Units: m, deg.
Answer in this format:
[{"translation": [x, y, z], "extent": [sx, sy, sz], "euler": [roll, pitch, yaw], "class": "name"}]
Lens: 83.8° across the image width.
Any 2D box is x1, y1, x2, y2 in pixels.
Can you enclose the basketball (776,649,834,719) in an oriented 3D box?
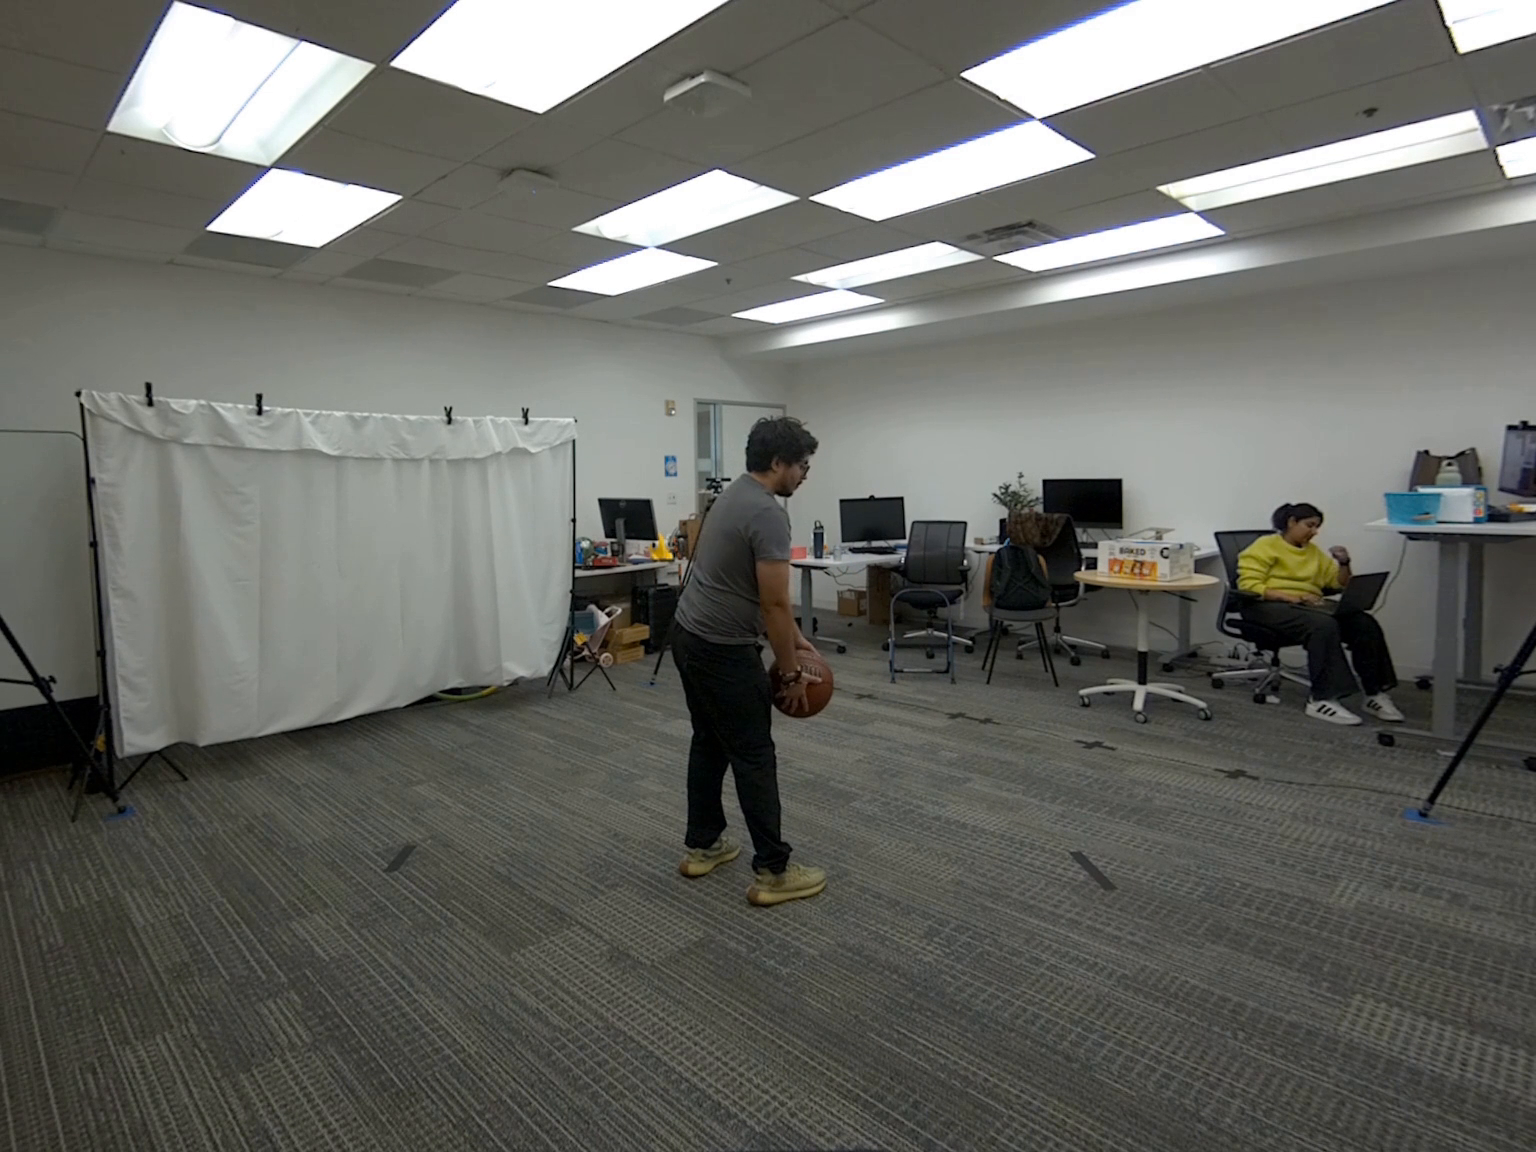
[{"translation": [0.114, 0.375, 3.021], "extent": [0.236, 0.235, 0.237], "euler": [-1, 5, -2], "class": "basketball"}]
